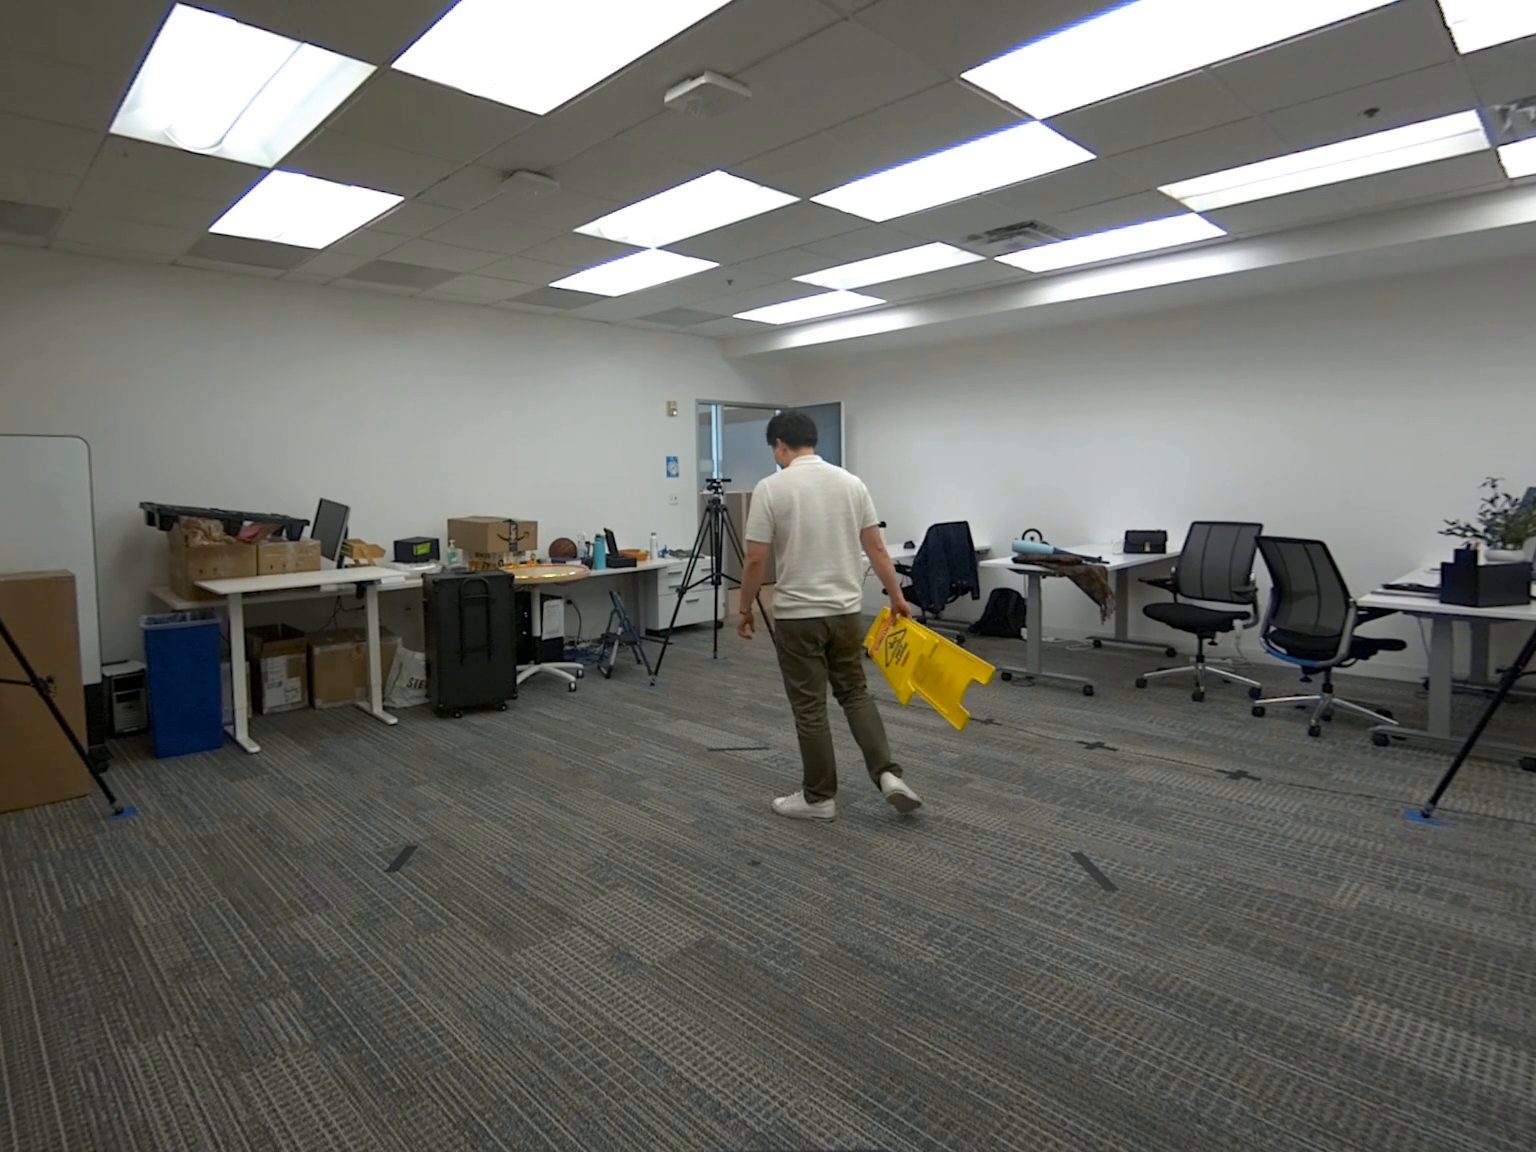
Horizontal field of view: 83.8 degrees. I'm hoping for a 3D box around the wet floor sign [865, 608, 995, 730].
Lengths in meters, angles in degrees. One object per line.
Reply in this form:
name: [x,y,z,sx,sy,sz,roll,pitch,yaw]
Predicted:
wet floor sign: [0.579,0.320,3.533,0.282,0.281,0.666,24,8,-25]
